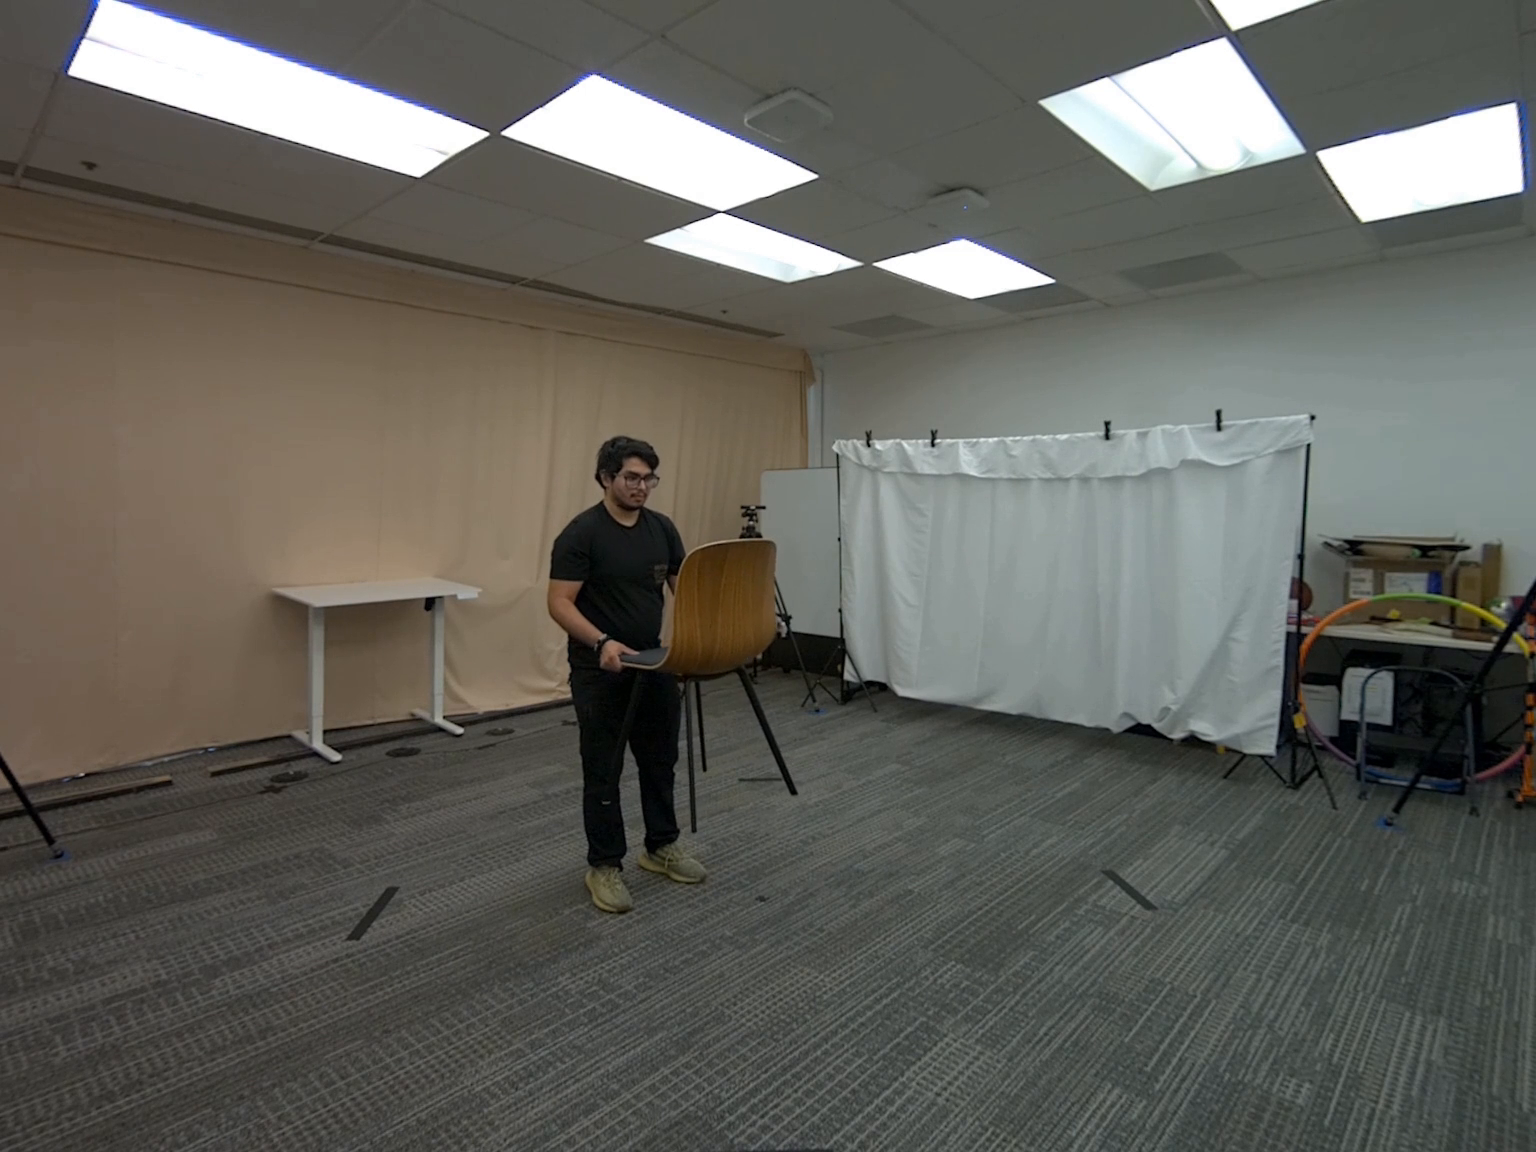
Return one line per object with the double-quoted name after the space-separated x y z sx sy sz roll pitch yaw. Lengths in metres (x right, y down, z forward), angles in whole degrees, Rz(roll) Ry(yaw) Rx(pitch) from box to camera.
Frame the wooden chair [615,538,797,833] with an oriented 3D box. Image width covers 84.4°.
-0.247 0.309 2.745 0.463 0.875 0.541 -5 7 -44 "wooden chair"
